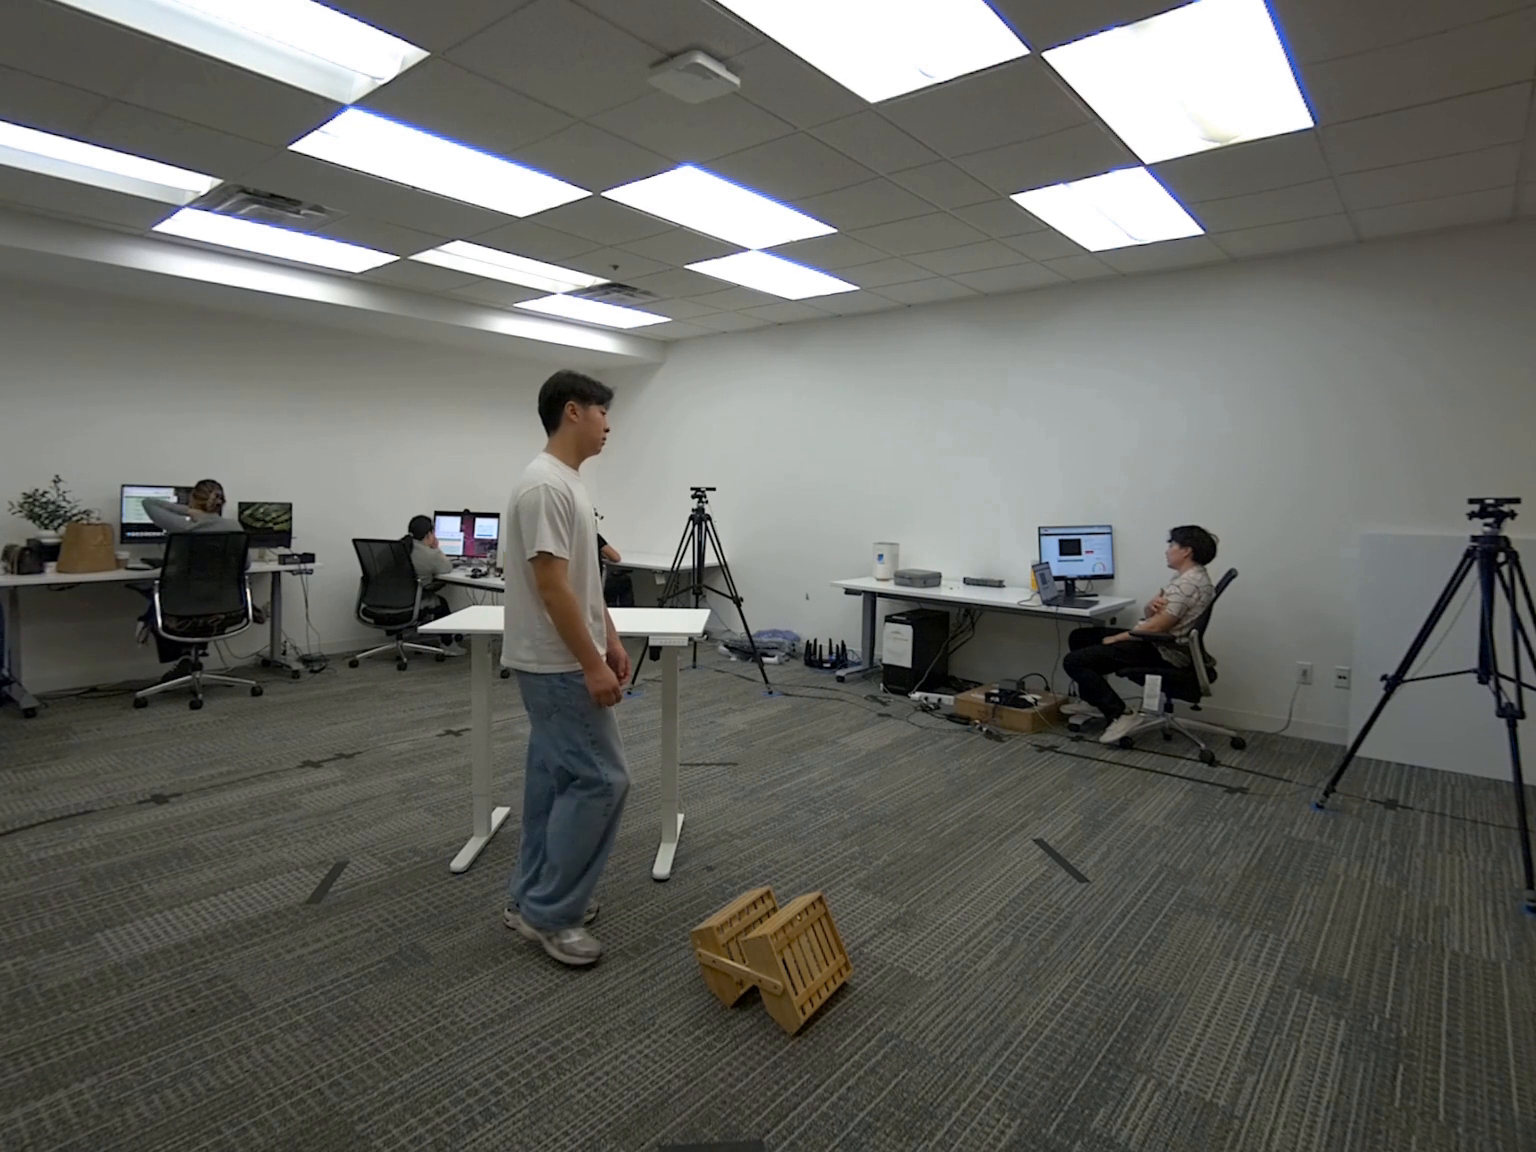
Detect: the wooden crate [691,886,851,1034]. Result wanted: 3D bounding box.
[{"bbox_3d":[0.005,1.057,2.366,0.276,0.307,0.315,-29,-13,31],"label":"wooden crate"}]
